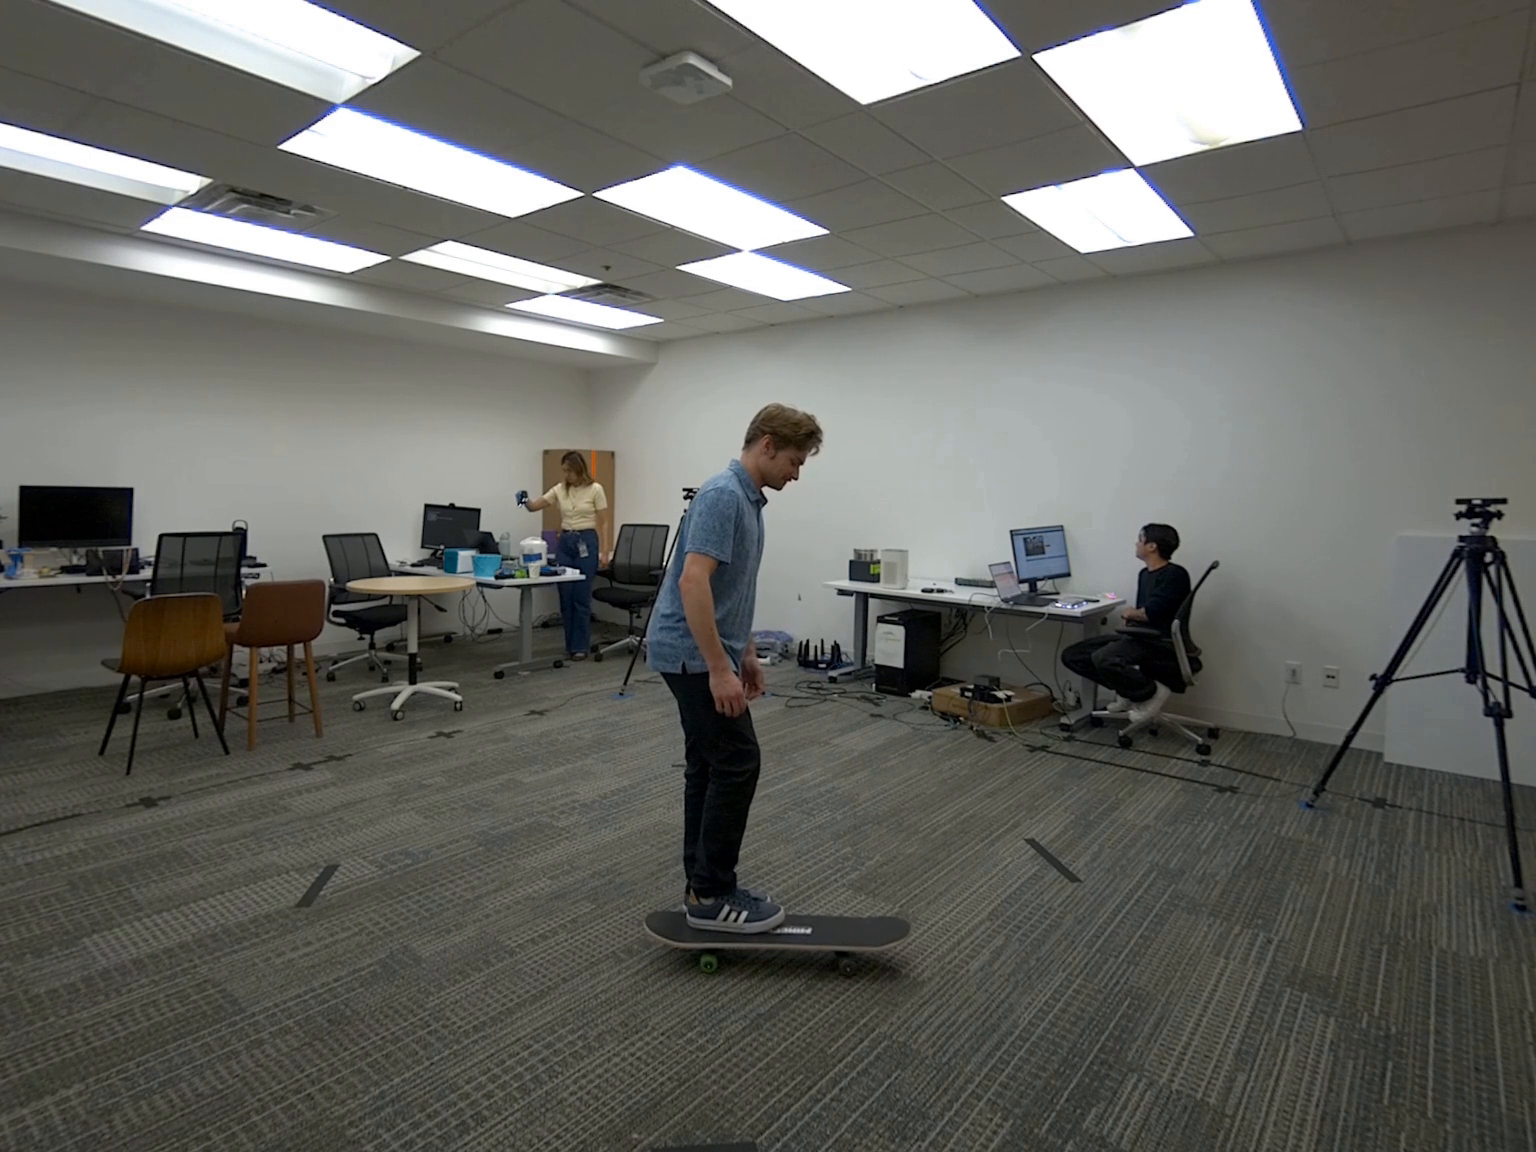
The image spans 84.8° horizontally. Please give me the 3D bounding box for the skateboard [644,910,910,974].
[{"bbox_3d":[0.025,1.073,2.522,0.785,0.110,0.194,1,3,0],"label":"skateboard"}]
